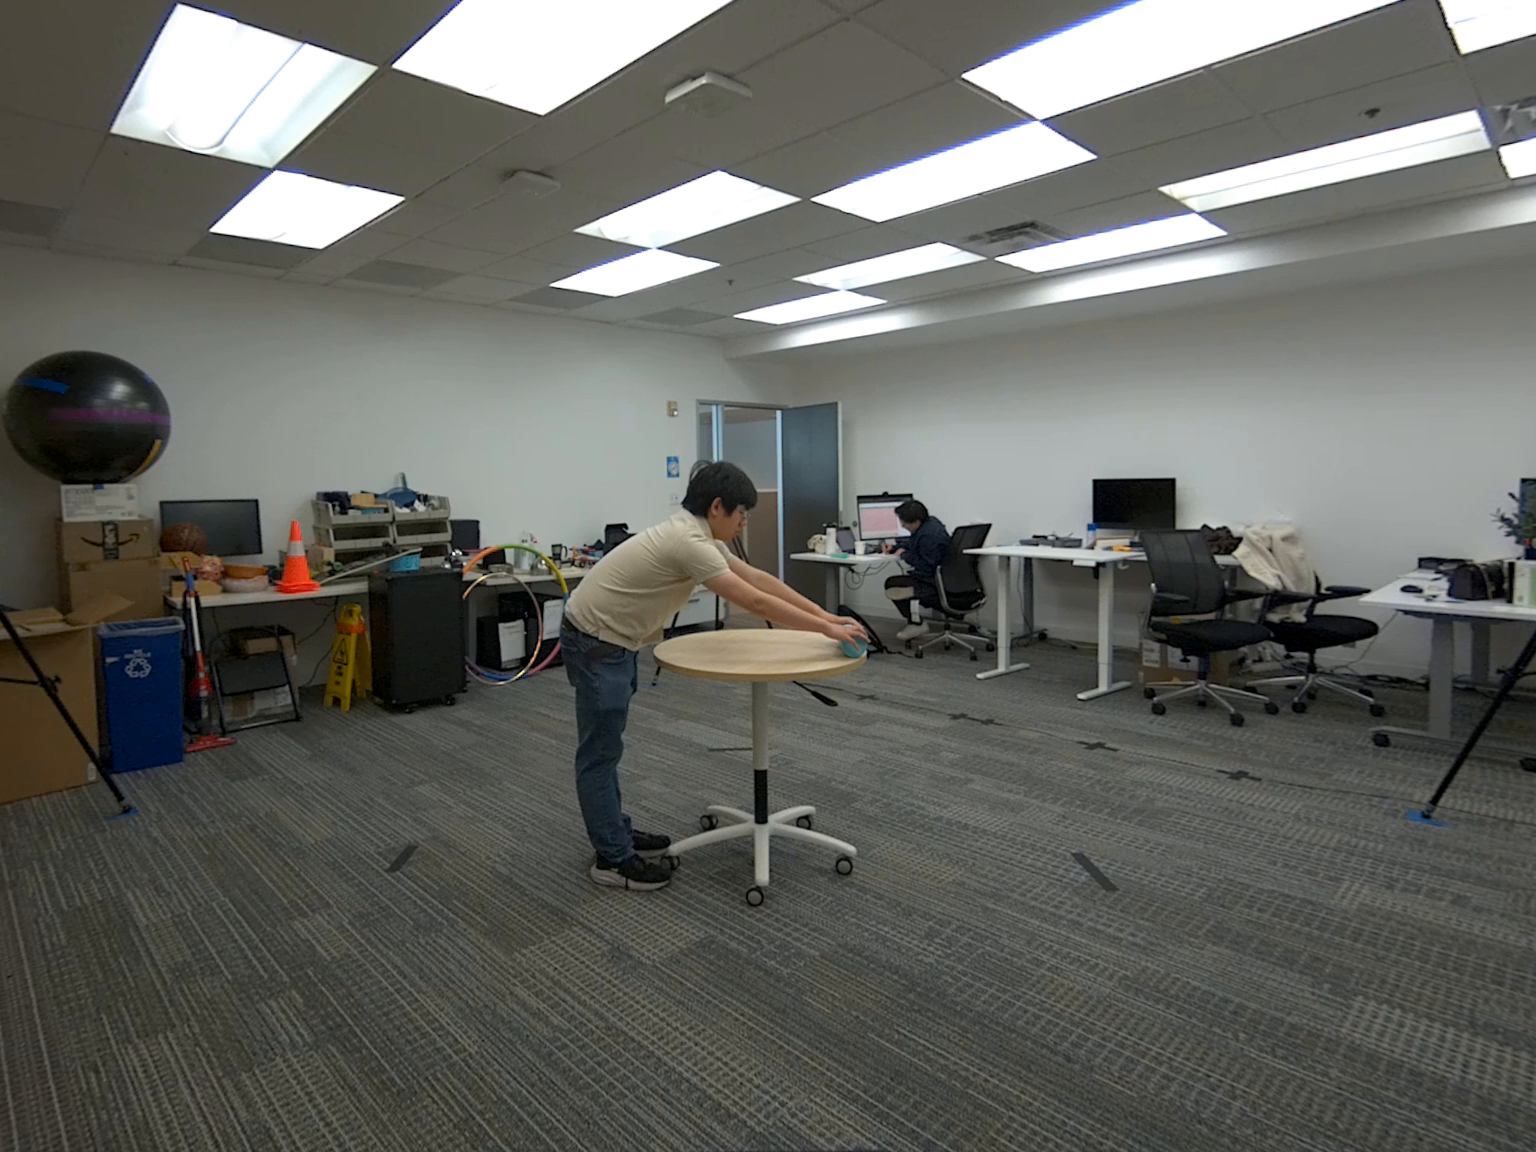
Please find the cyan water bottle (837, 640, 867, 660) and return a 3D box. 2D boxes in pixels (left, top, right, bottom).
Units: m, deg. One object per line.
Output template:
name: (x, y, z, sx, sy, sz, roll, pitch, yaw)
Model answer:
cyan water bottle: (0.283, 0.217, 3.041, 0.093, 0.092, 0.282, -1, 4, 4)
